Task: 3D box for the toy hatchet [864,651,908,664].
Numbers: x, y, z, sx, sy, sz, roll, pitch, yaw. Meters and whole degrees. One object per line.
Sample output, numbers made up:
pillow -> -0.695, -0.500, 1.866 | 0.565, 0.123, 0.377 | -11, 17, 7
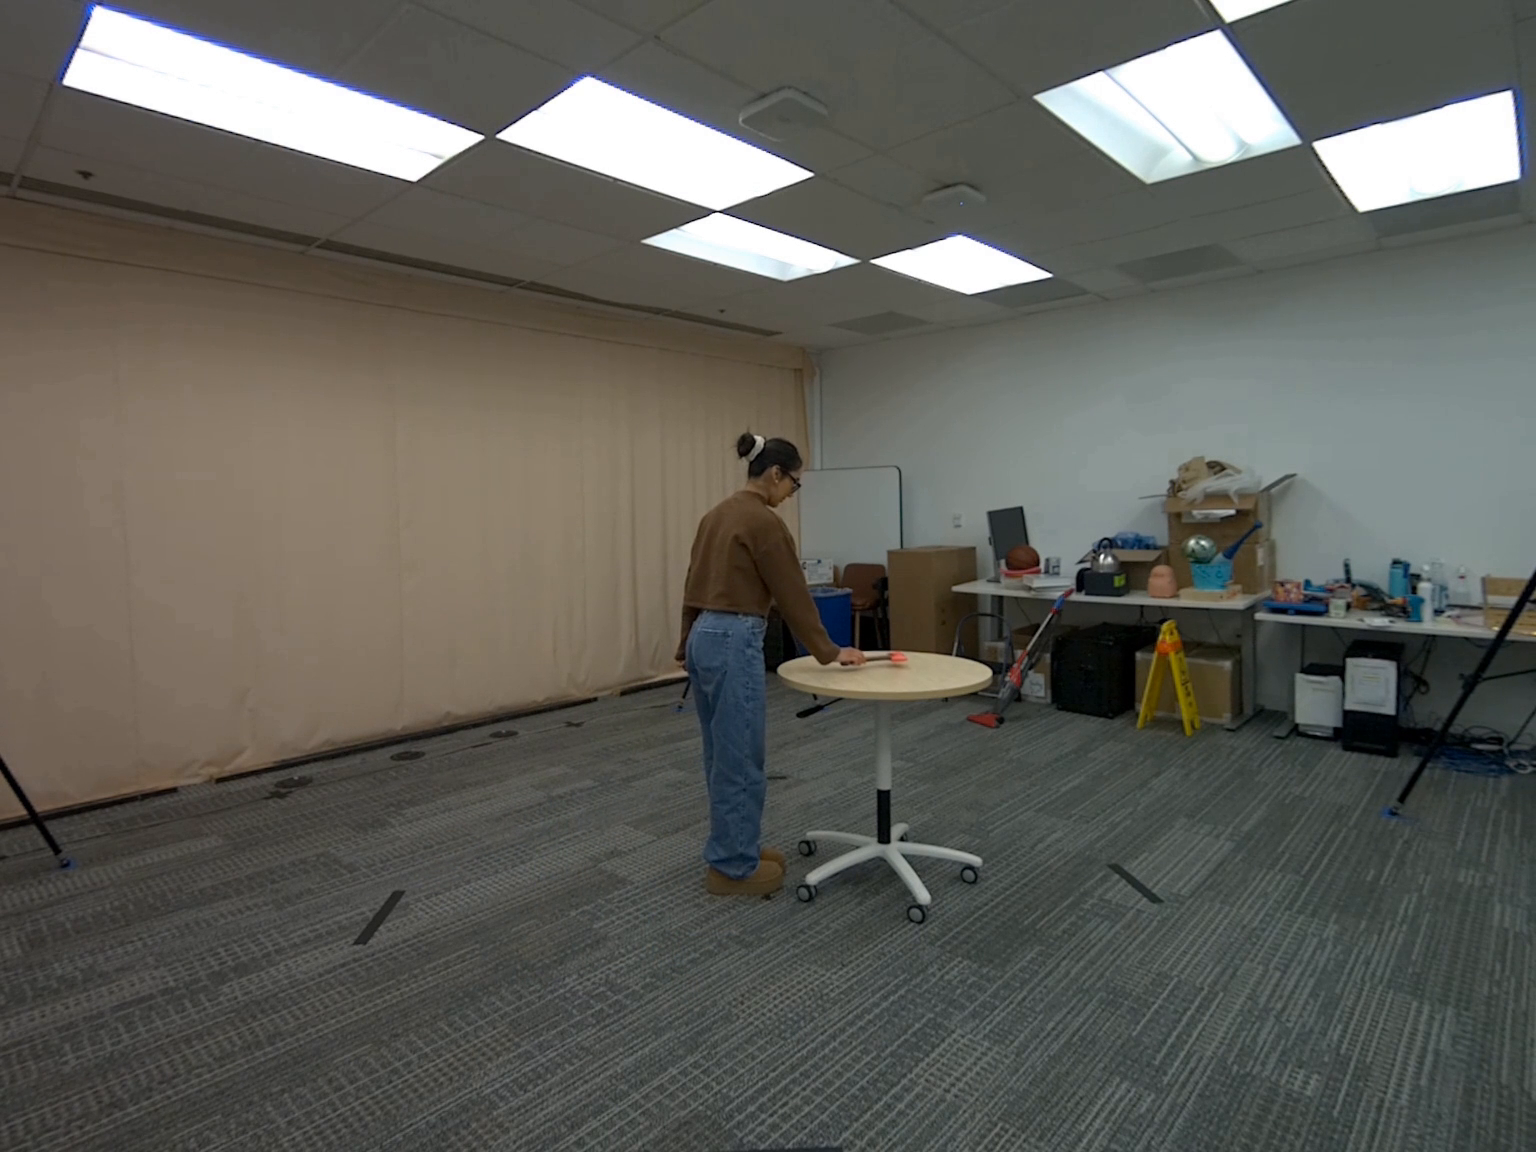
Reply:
toy hatchet -> 0.386, 0.310, 3.102 | 0.267, 0.029, 0.133 | -2, 5, -10
